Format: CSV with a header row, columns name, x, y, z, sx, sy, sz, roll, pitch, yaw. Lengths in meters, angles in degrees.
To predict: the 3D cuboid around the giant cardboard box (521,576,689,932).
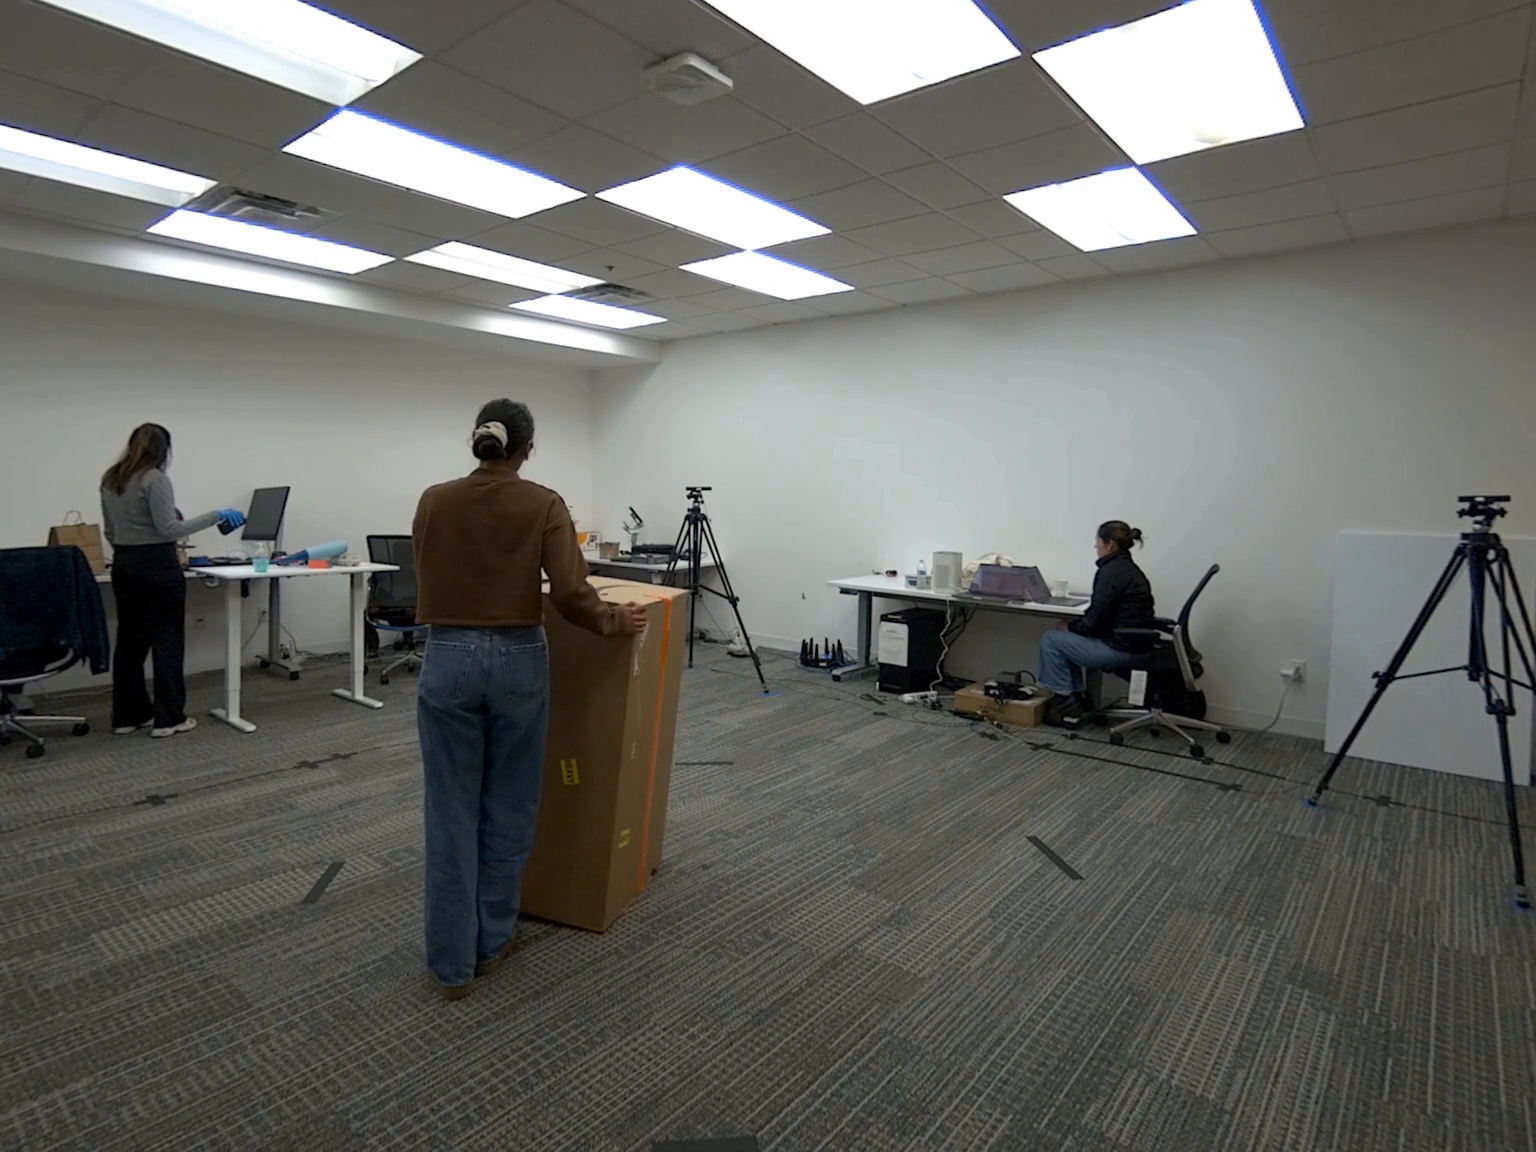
name,x,y,z,sx,sy,sz,roll,pitch,yaw
giant cardboard box,-0.603,0.554,2.936,0.434,1.023,0.569,7,3,14
